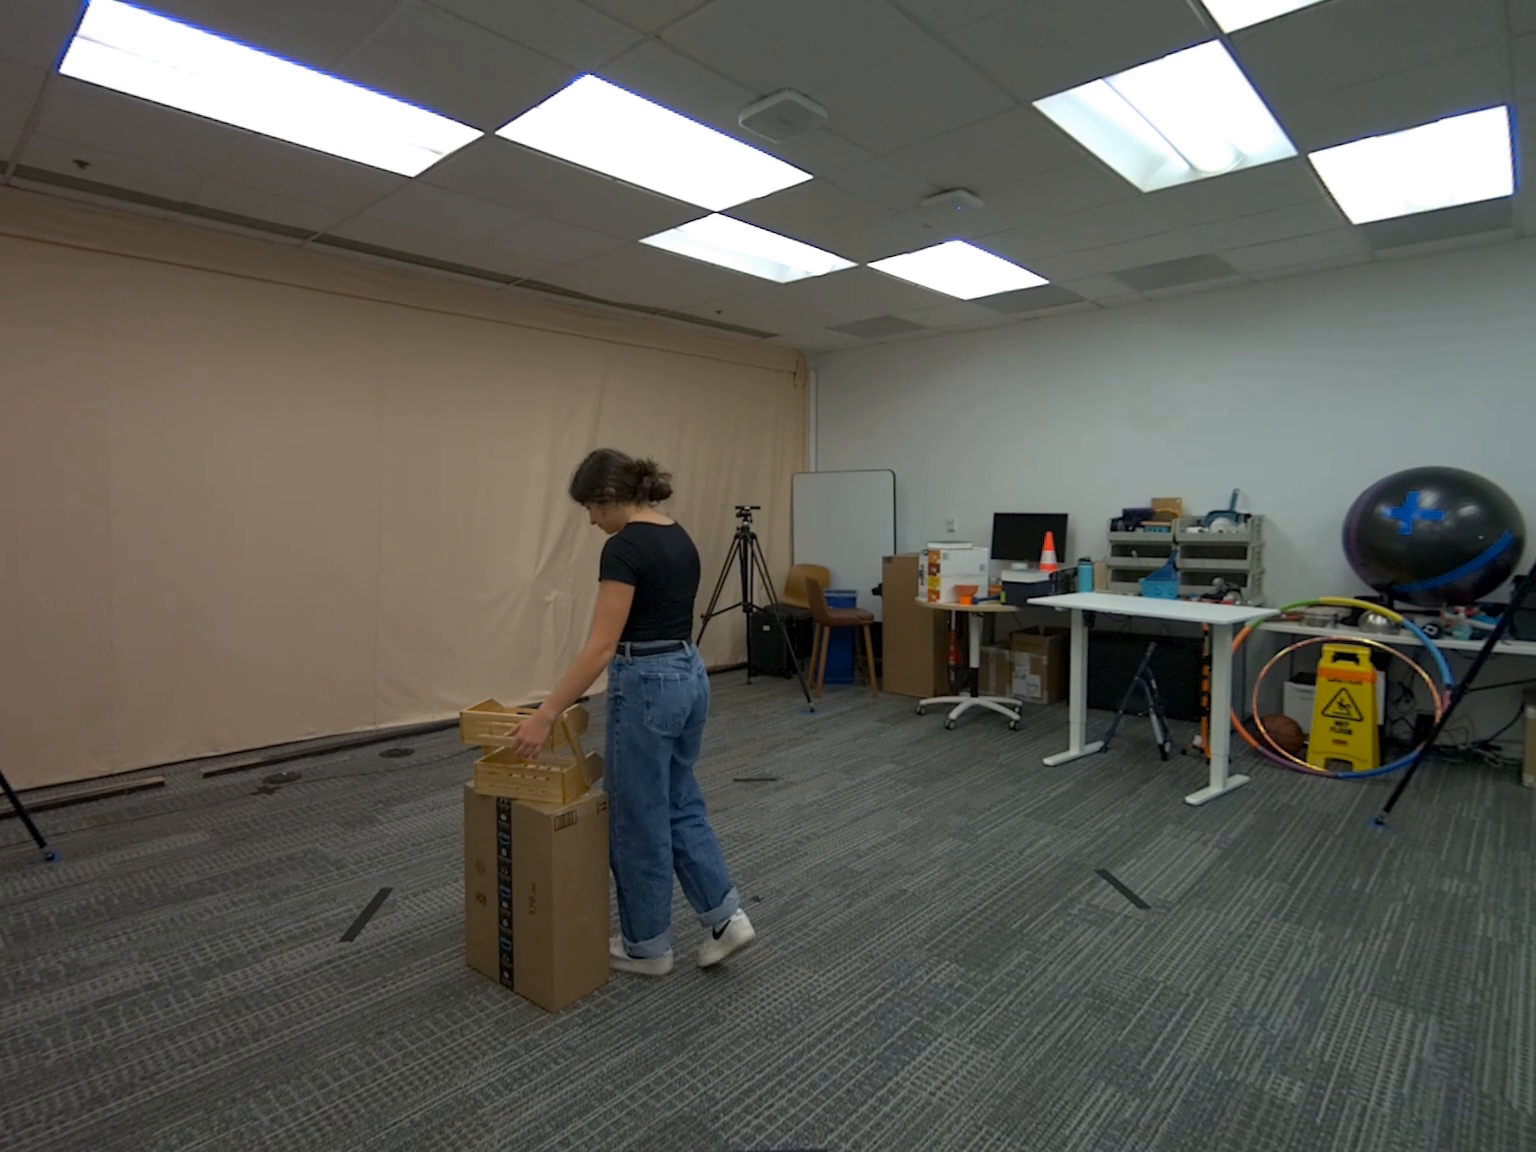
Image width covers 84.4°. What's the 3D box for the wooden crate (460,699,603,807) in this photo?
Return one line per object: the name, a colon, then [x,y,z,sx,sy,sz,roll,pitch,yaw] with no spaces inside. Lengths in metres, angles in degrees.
wooden crate: [-0.683,0.493,2.495,0.331,0.272,0.297,1,6,18]
